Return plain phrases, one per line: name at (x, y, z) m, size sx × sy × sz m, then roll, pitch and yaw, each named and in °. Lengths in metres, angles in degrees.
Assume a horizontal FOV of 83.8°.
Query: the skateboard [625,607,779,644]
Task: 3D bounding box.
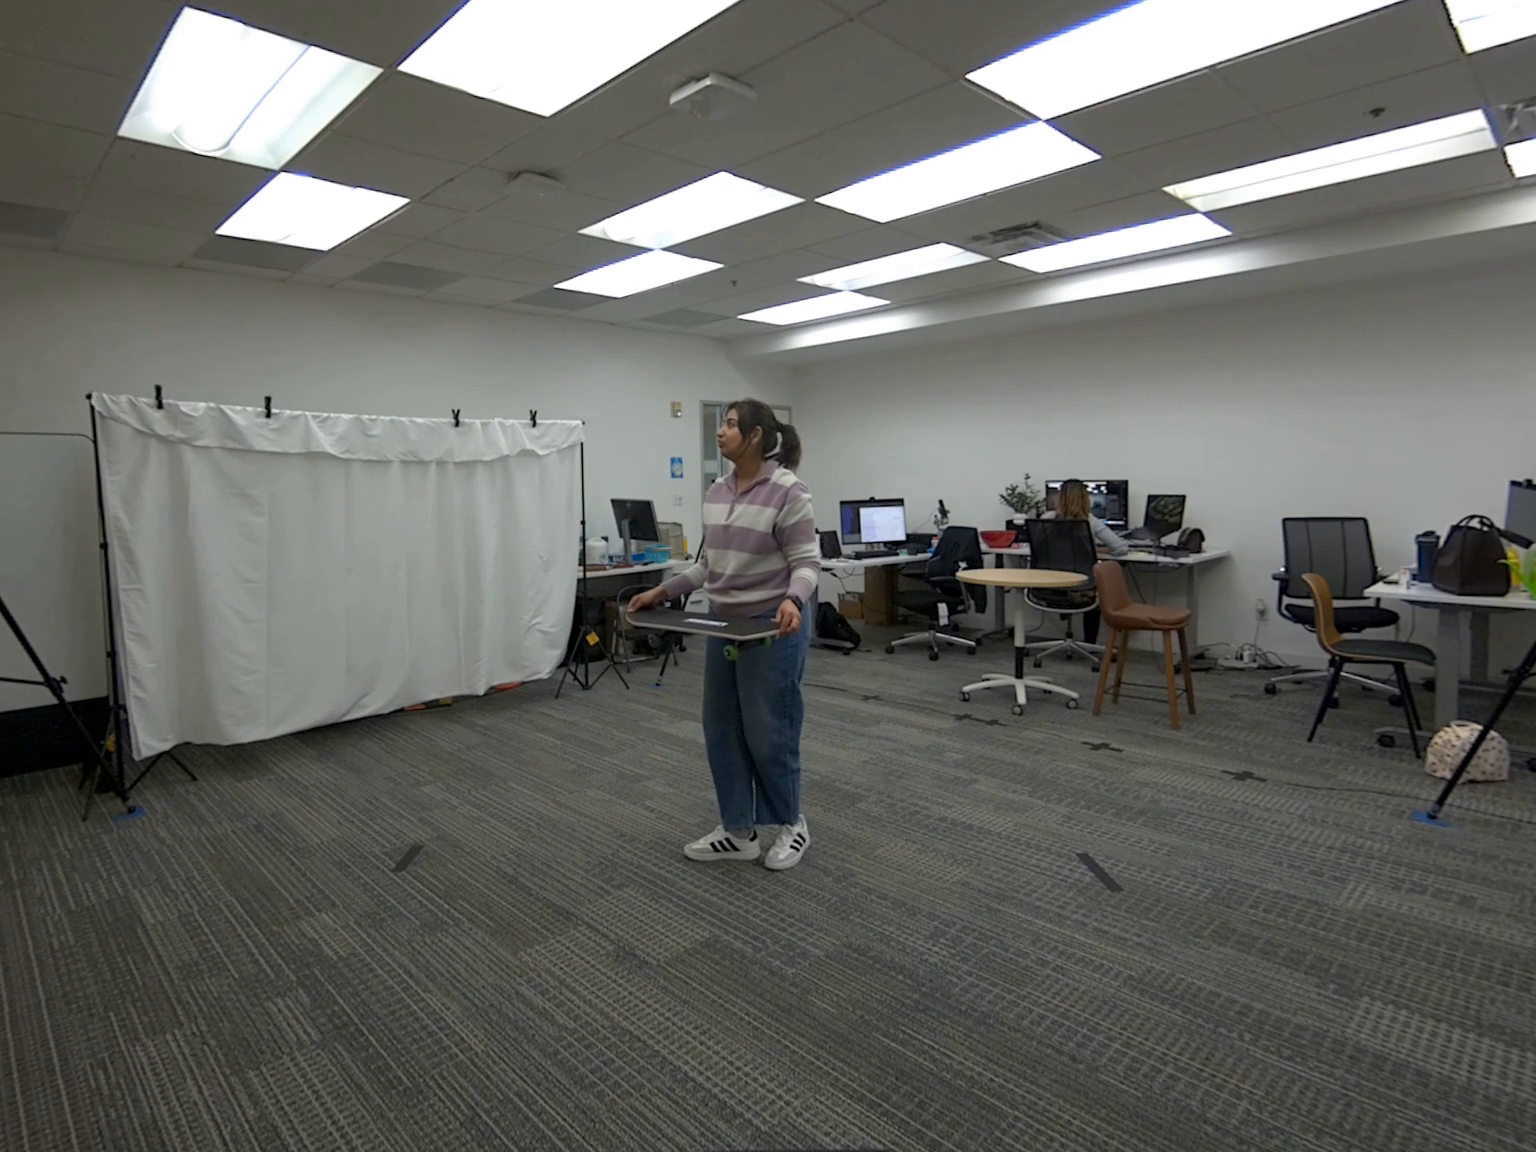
skateboard at (-0.226, 0.195, 2.955) m, size 0.189 × 0.109 × 0.809 m, roll -17°, pitch 14°, yaw -39°
